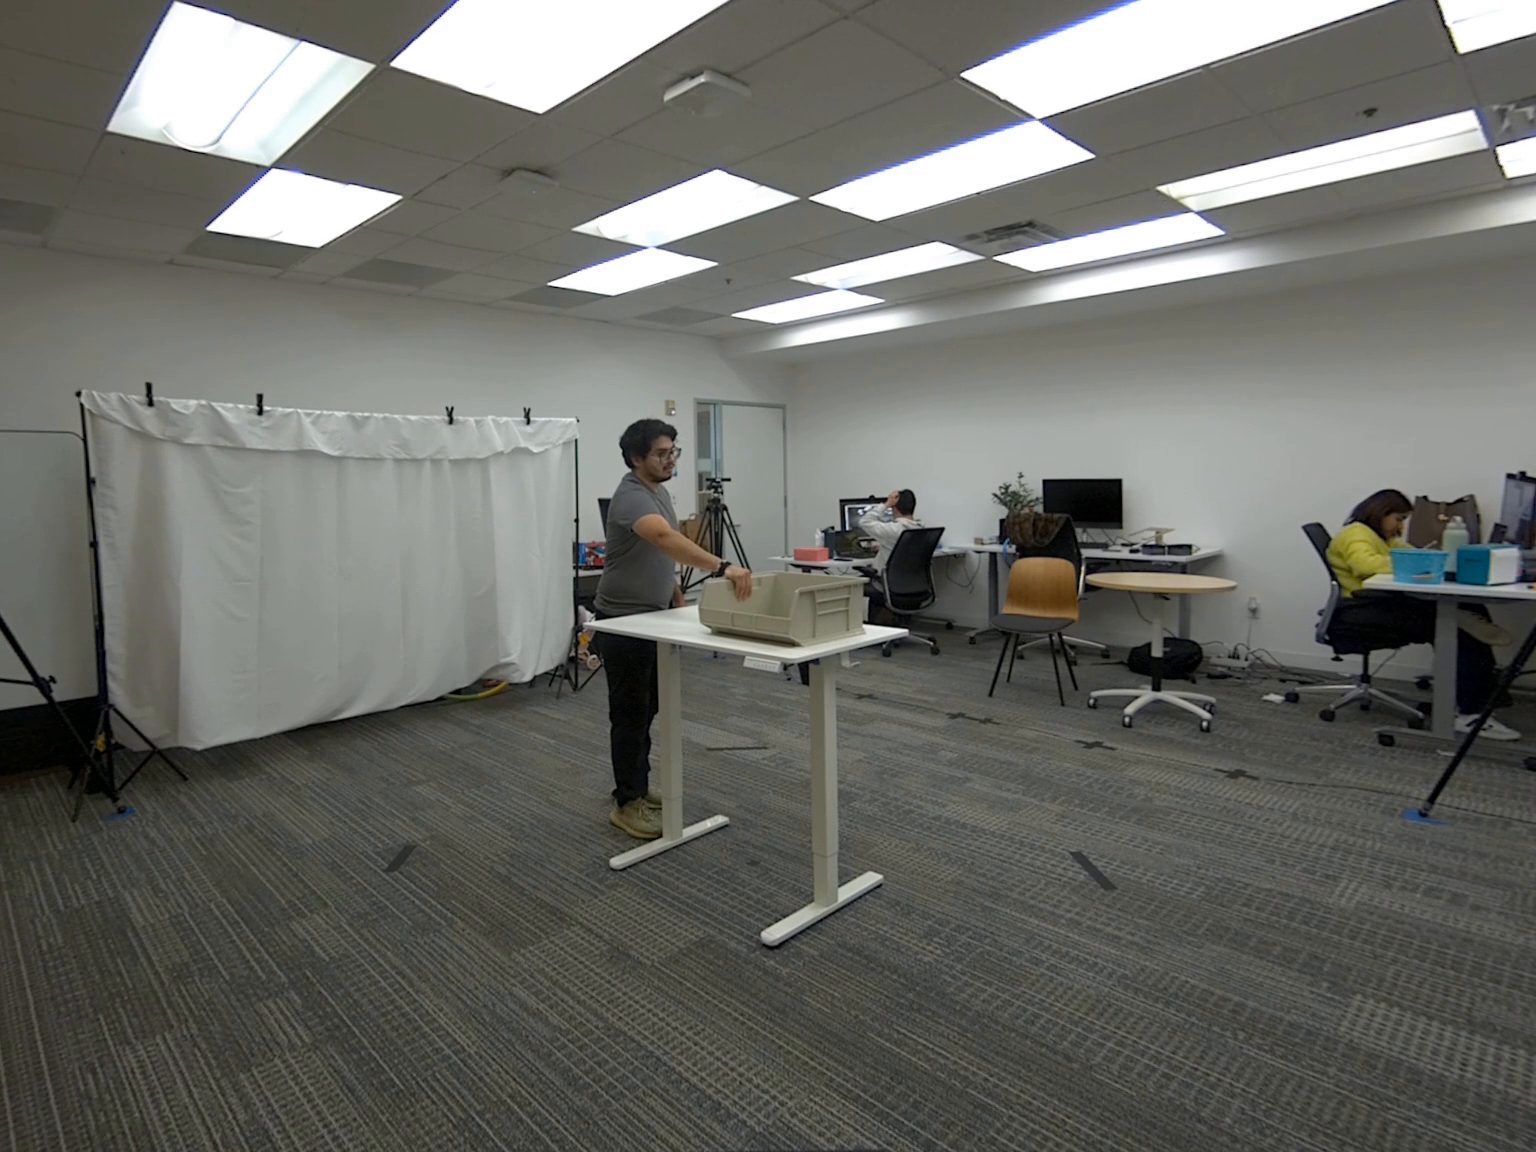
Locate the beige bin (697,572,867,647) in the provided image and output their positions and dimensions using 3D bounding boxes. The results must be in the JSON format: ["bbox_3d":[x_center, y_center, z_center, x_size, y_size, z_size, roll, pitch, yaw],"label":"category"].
[{"bbox_3d":[0.050,0.103,2.797,0.367,0.188,0.435,-4,6,-44],"label":"beige bin"}]
